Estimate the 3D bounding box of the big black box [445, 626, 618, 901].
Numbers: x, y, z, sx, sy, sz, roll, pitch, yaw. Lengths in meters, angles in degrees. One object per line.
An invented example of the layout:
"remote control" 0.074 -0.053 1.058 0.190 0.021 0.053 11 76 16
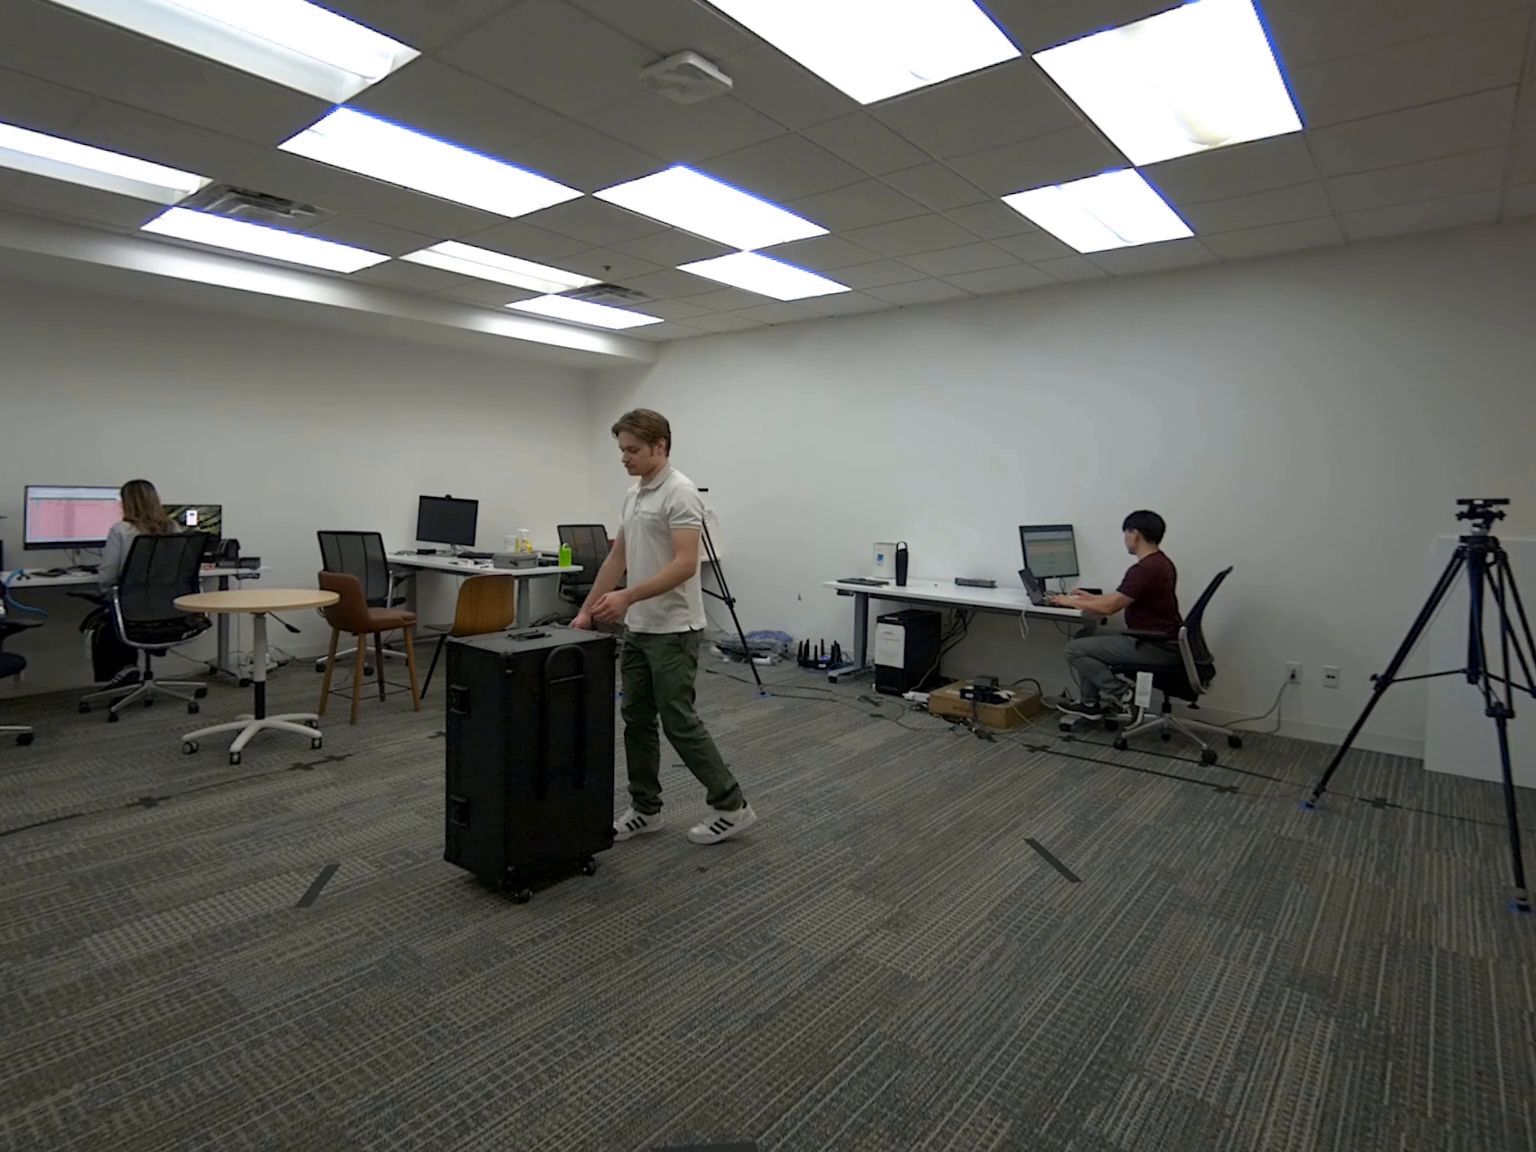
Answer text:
"big black box" -0.851 0.645 3.035 0.398 0.866 0.508 4 5 39
